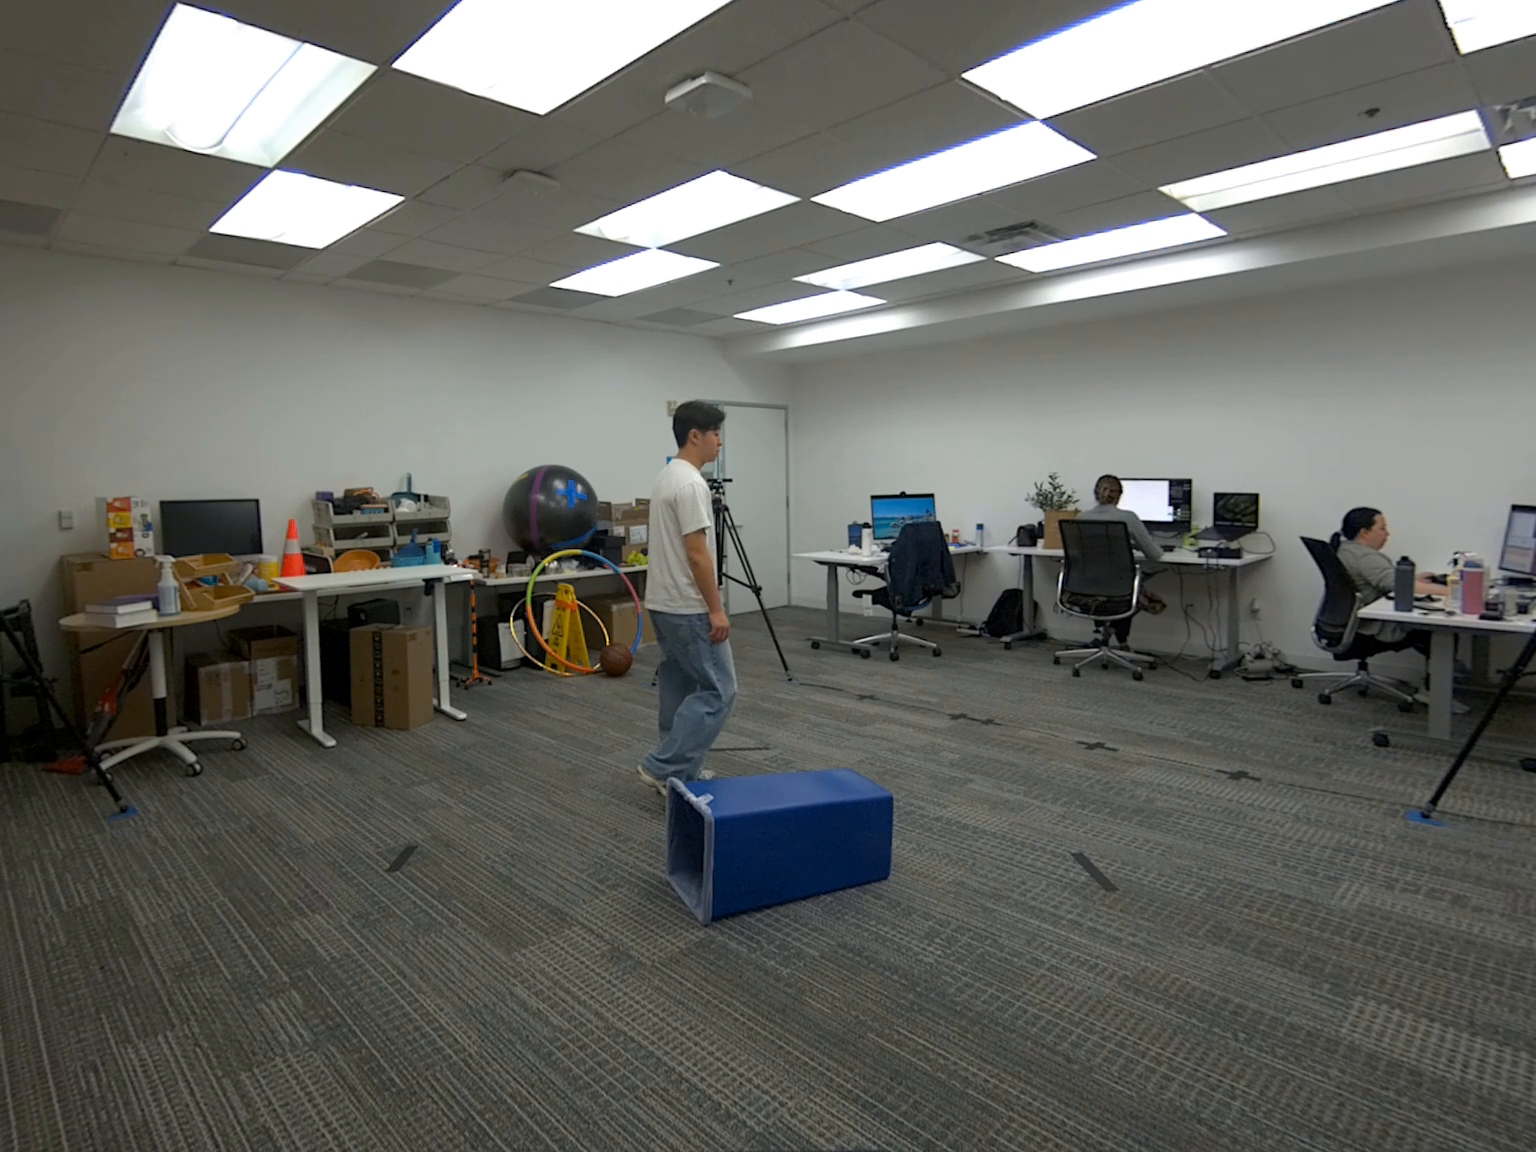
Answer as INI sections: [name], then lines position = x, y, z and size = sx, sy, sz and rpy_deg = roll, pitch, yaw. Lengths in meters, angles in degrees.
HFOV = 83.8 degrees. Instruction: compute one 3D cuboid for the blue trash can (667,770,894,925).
[blue trash can]
position = 0.046, 0.897, 2.960
size = 0.698, 0.377, 0.383
rpy_deg = -1, 4, -25
